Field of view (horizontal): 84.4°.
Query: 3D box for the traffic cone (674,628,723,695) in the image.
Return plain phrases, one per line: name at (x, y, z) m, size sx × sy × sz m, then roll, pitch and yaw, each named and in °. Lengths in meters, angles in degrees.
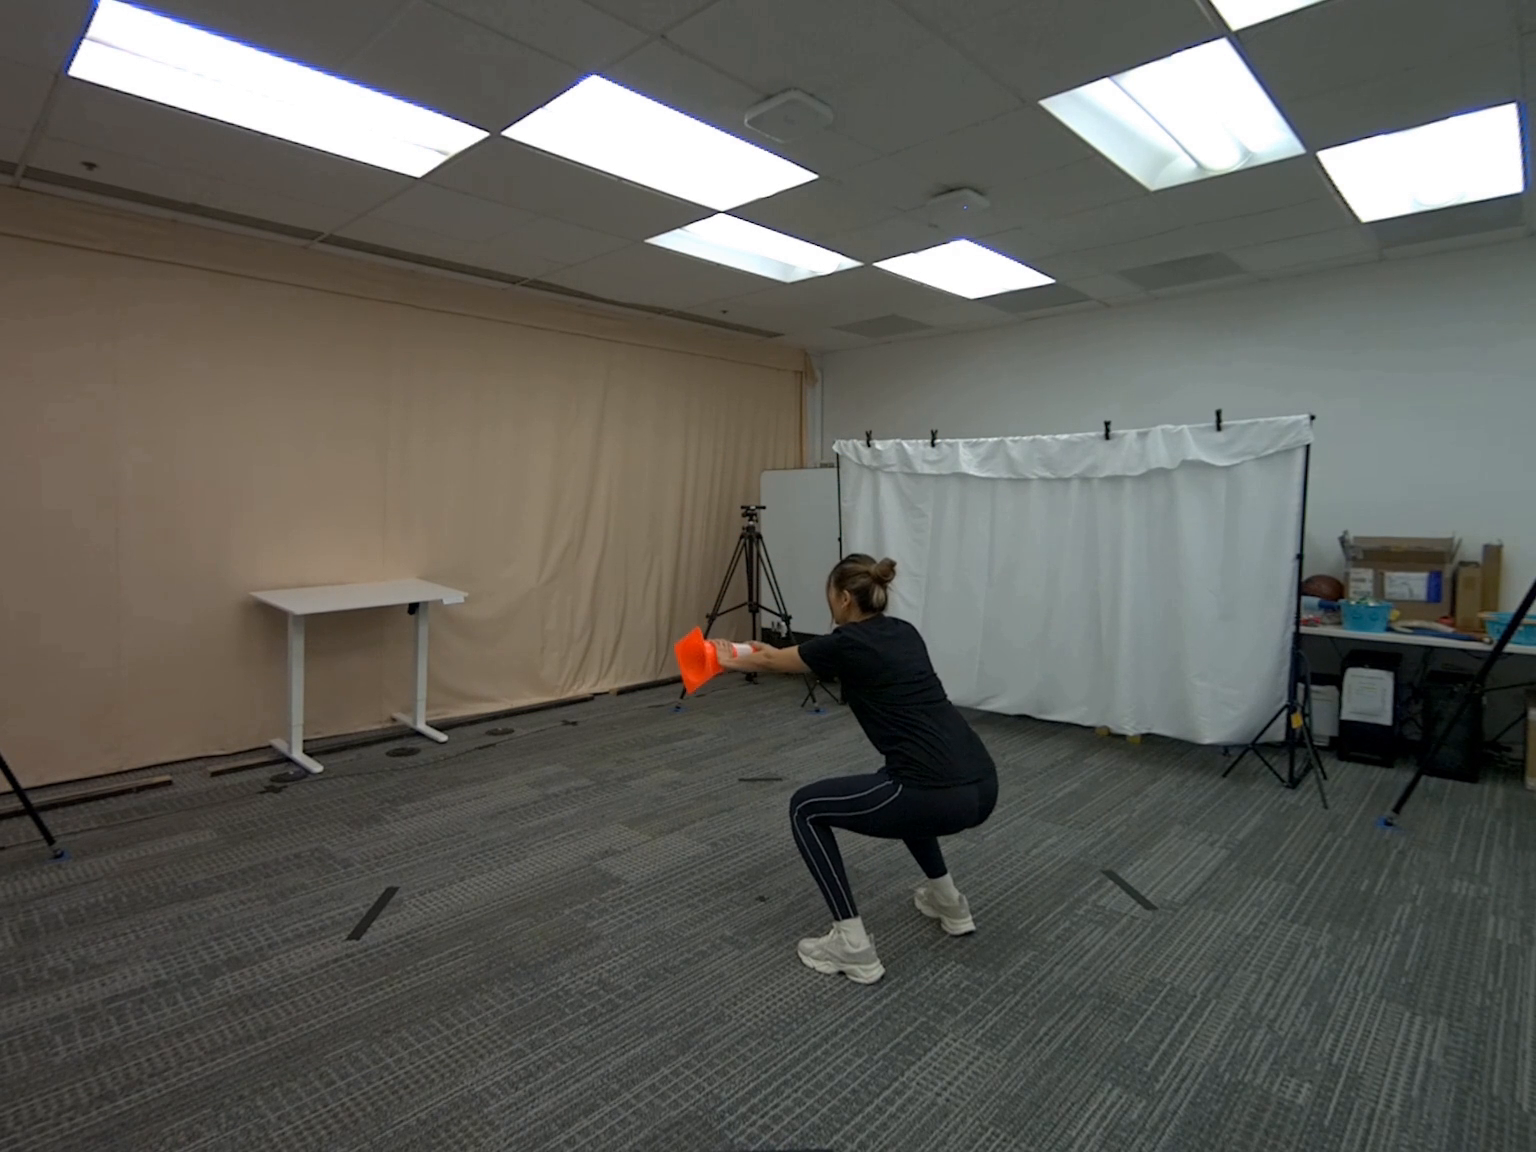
traffic cone at (-0.127, 0.302, 3.227) m, size 0.372 × 0.209 × 0.206 m, roll 0°, pitch -27°, yaw -36°
